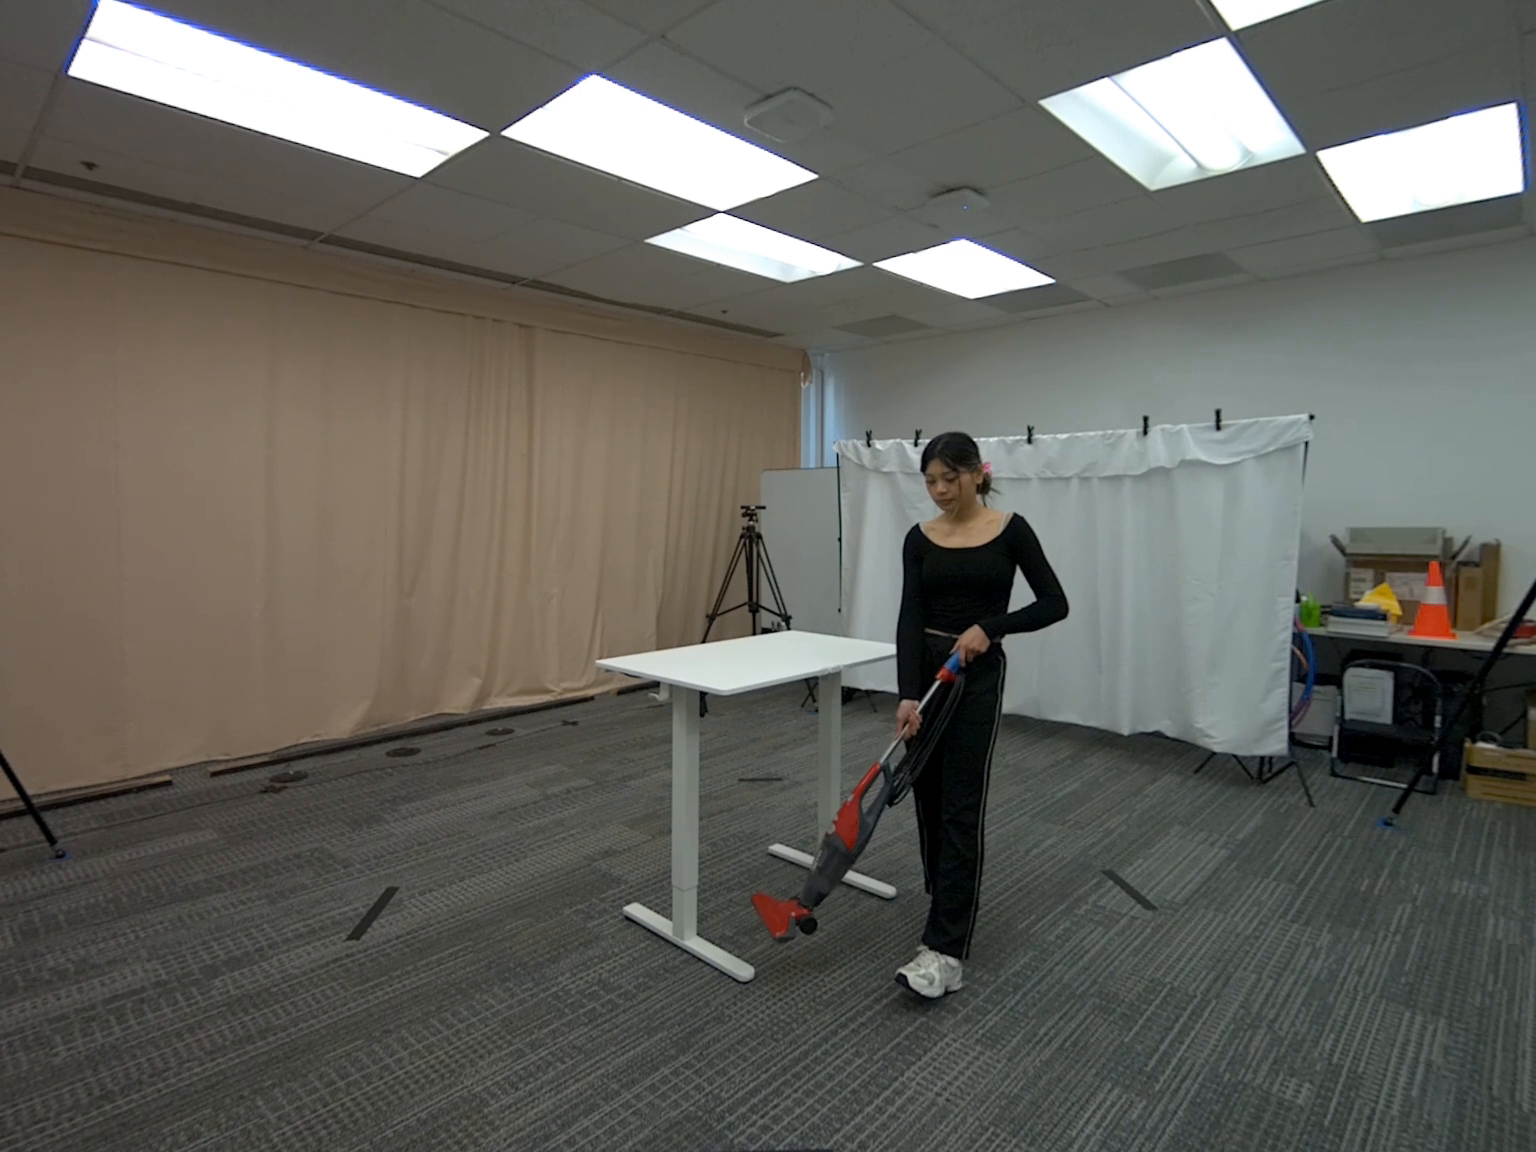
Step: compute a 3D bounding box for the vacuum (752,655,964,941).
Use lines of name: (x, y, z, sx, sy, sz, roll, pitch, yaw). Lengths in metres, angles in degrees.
vacuum: (0.361, 0.584, 2.448, 0.141, 1.048, 0.258, 38, -6, -19)
